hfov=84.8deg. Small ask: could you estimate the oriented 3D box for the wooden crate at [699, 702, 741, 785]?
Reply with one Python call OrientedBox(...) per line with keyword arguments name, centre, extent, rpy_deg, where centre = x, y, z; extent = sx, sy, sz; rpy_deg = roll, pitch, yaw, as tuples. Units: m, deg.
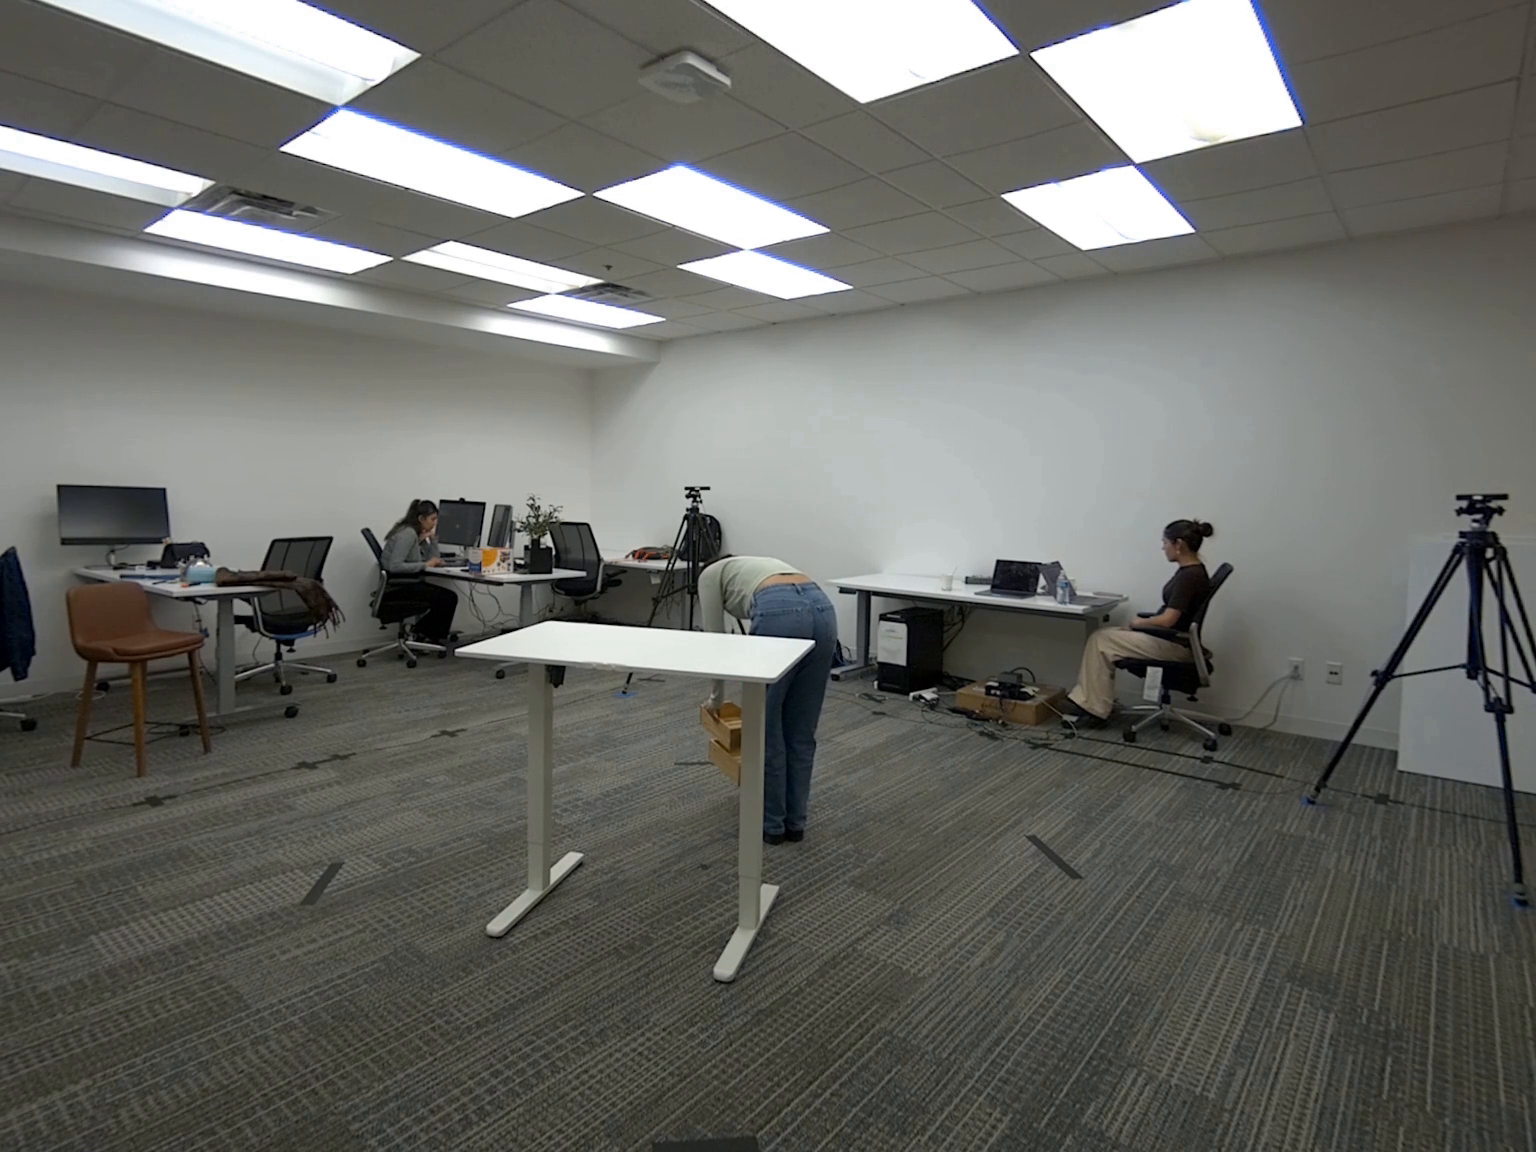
OrientedBox(name="wooden crate", centre=(-0.106, 0.711, 3.700), extent=(0.295, 0.271, 0.335), rpy_deg=(-4, 12, -28))
